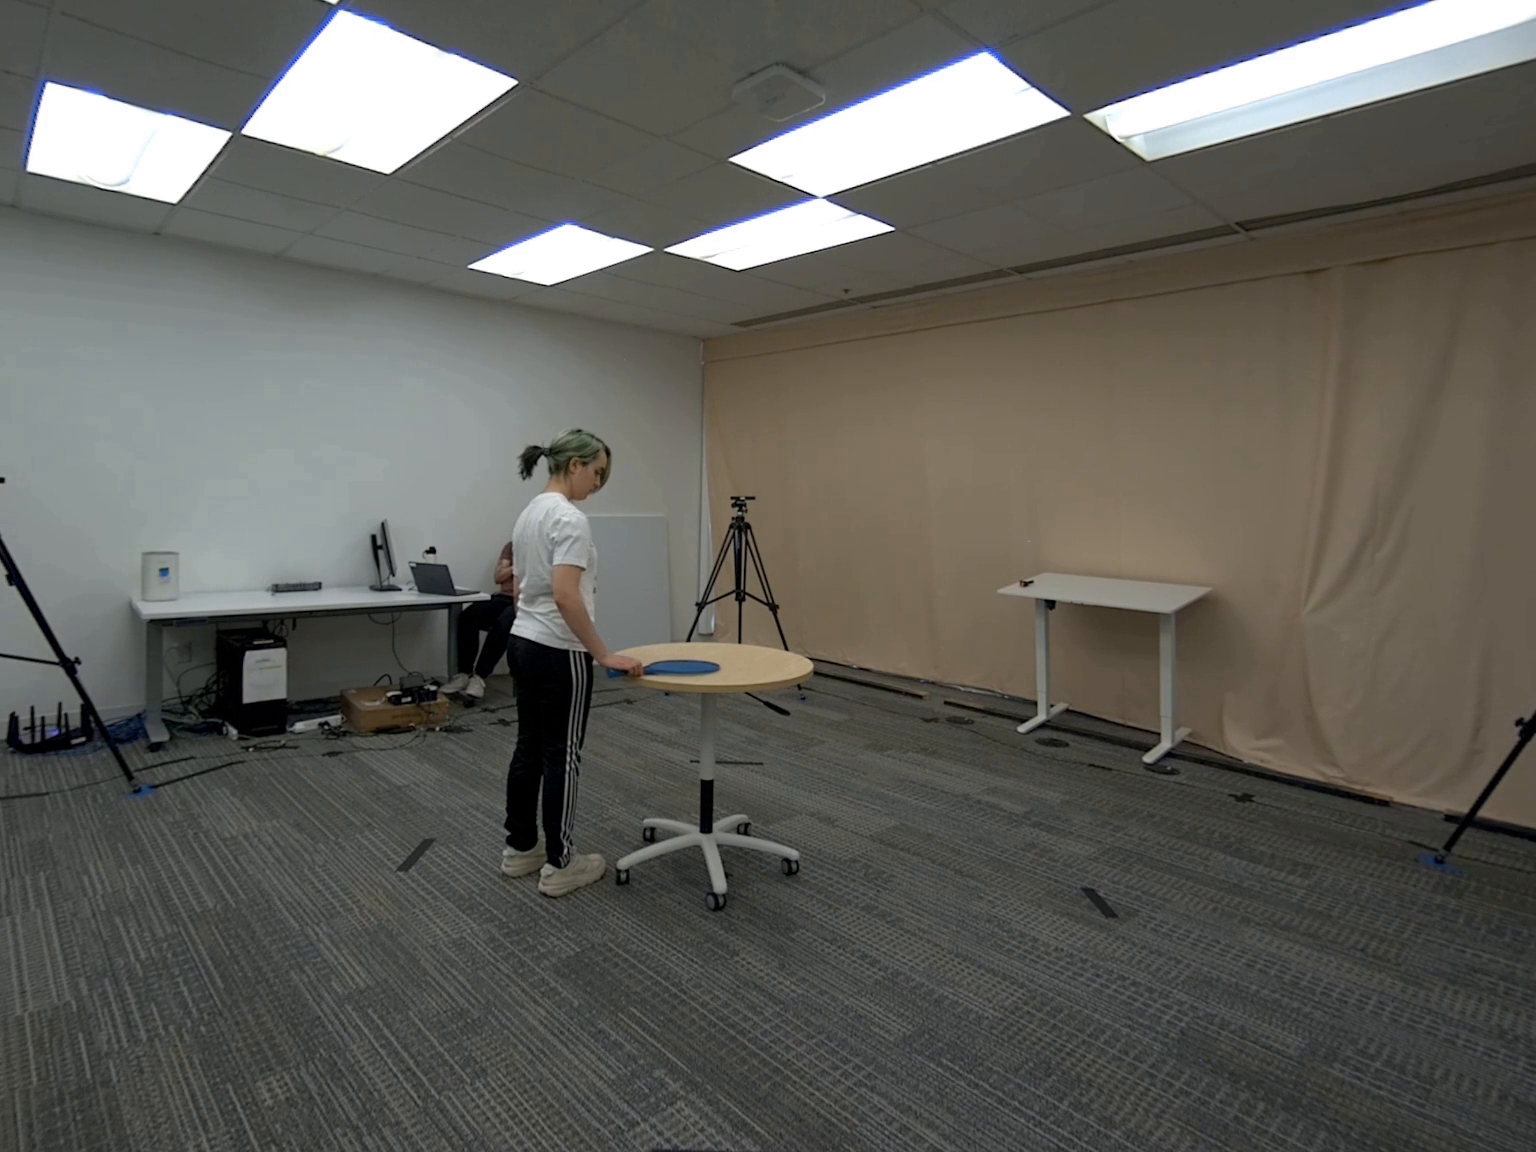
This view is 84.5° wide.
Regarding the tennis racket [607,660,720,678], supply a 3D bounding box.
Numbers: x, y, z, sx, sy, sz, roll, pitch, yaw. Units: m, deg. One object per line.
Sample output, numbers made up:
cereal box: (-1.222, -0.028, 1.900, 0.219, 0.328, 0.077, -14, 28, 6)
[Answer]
tennis racket: (-0.370, 0.322, 2.904, 0.423, 0.032, 0.219, 0, 5, -33)
